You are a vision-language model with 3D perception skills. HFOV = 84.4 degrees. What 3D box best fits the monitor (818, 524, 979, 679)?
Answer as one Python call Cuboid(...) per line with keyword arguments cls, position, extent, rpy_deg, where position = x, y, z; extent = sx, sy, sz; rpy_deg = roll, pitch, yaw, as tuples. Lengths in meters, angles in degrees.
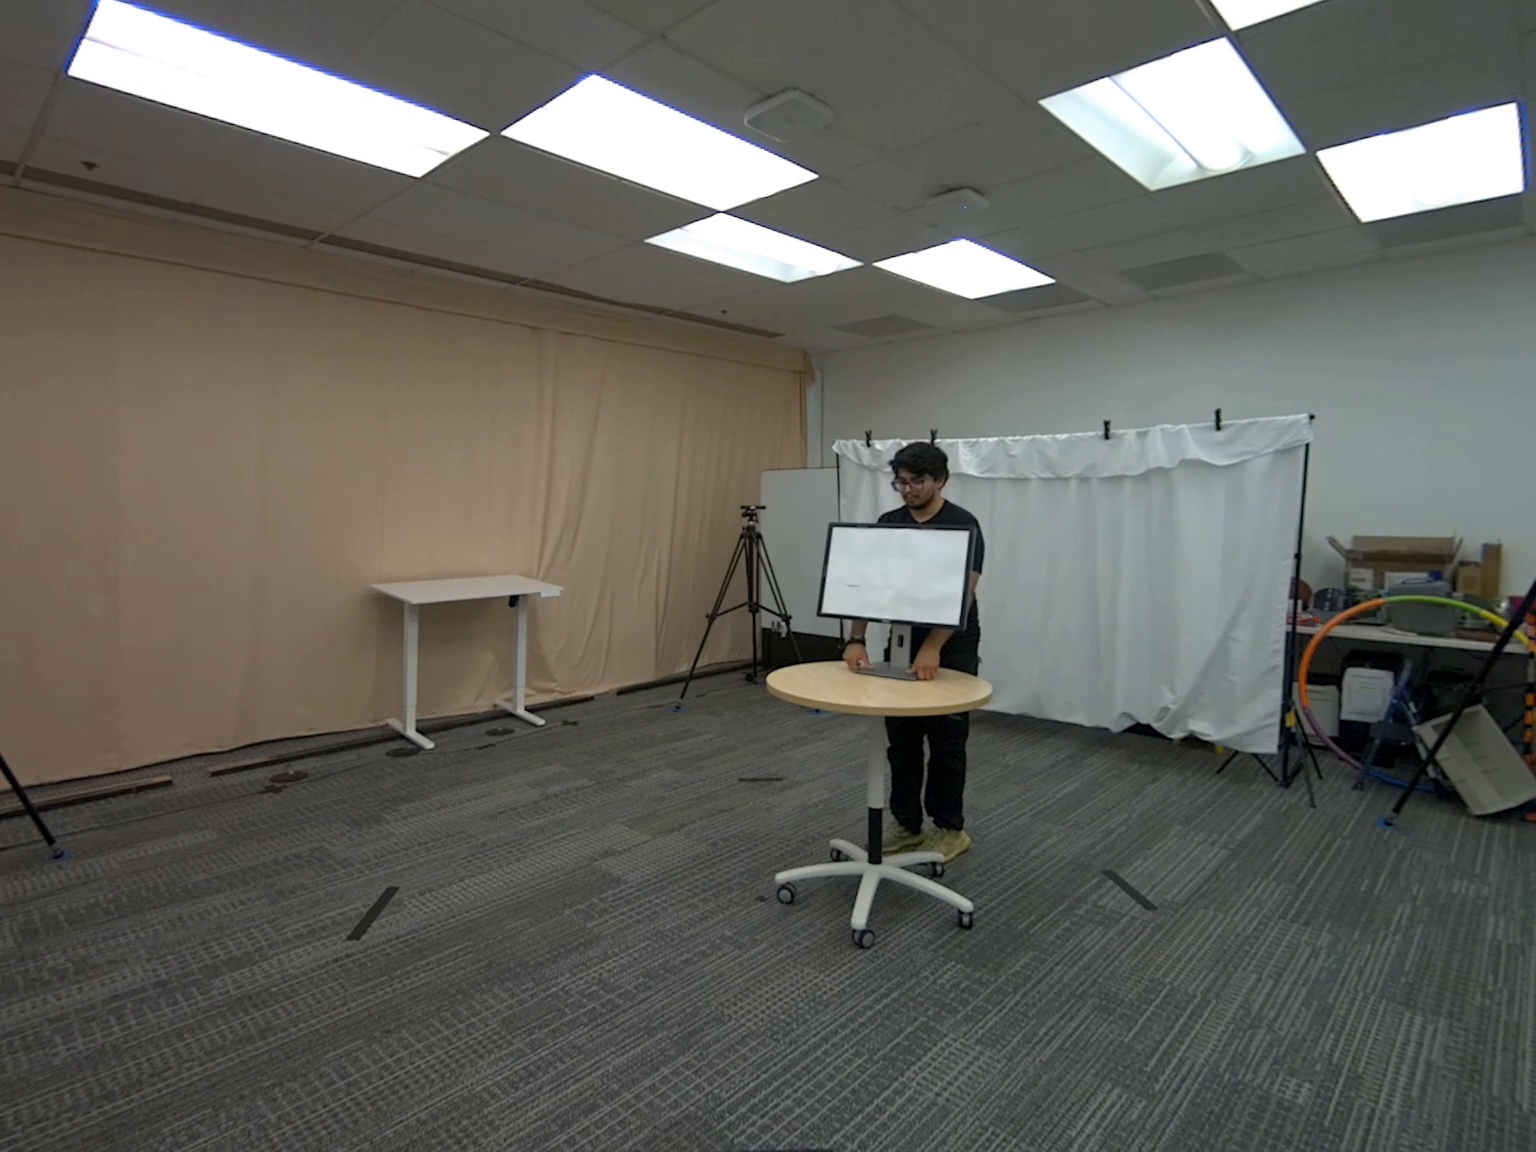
Cuboid(cls="monitor", position=(0.485, 0.086, 3.081), extent=(0.583, 0.555, 0.203), rpy_deg=(2, -3, 35))
